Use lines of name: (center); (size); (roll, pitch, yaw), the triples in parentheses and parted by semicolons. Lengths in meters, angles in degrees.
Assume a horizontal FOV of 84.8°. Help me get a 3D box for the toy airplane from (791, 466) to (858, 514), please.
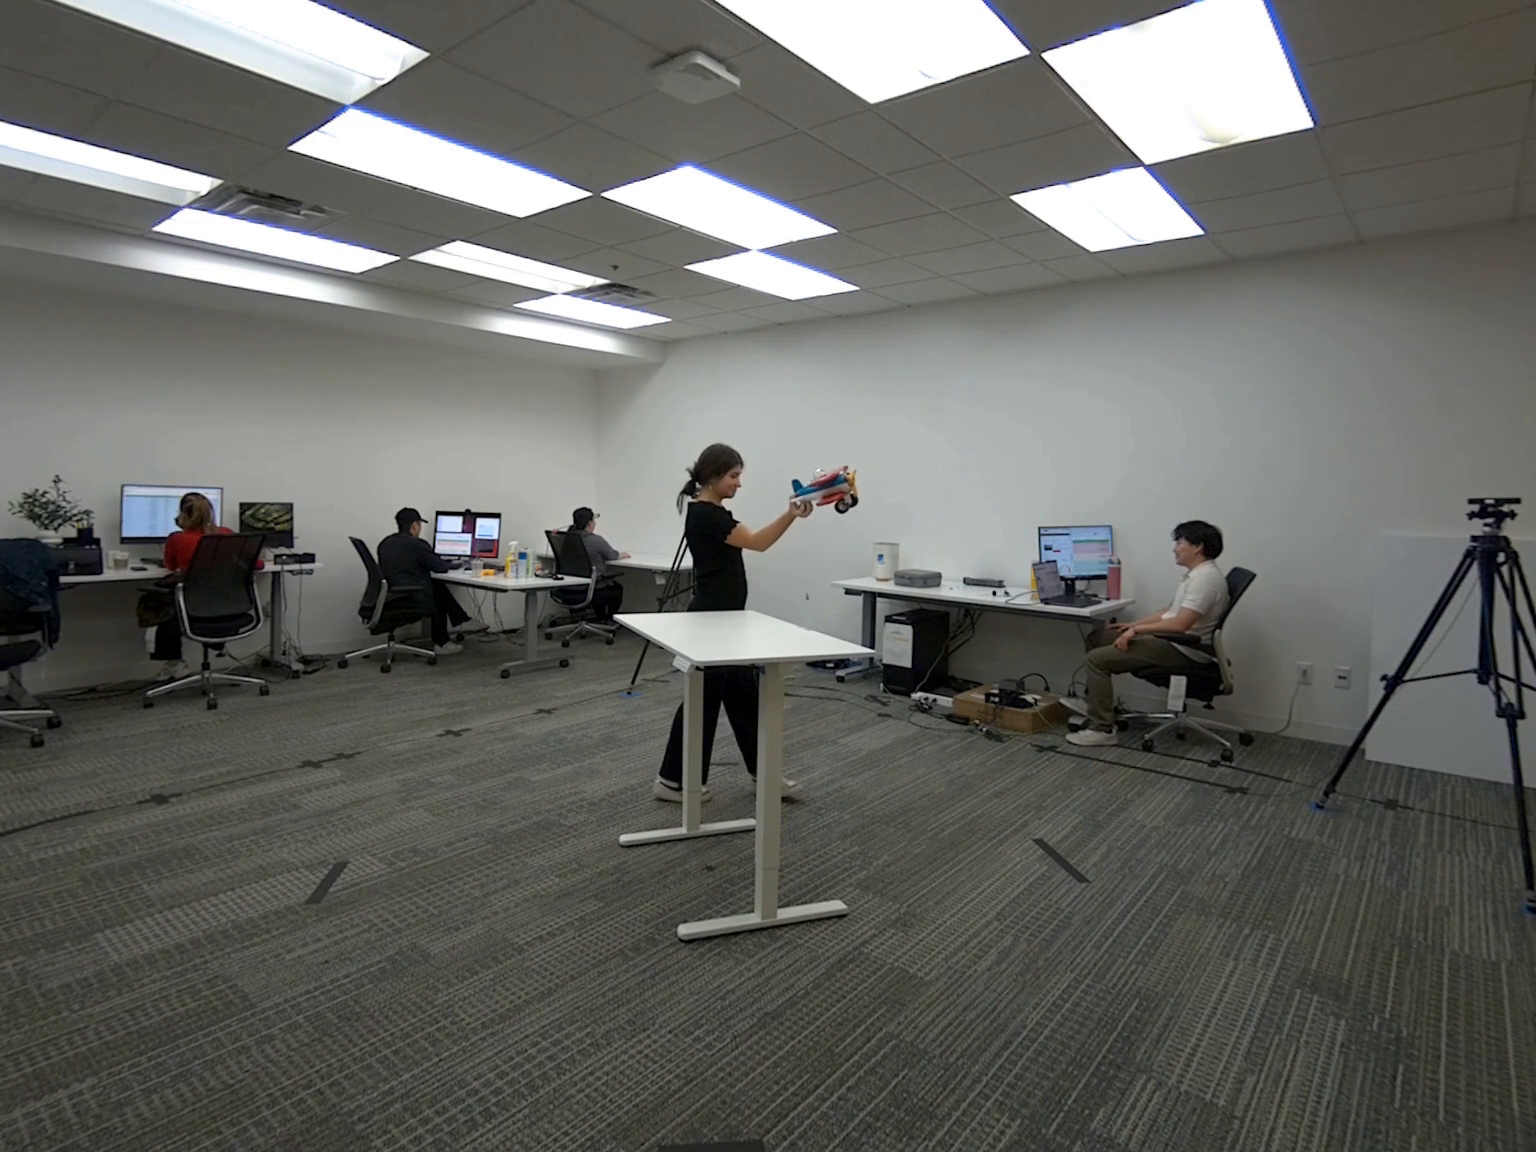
toy airplane: (0.201, -0.323, 3.227); (0.260, 0.154, 0.254); (-8, 16, 4)
